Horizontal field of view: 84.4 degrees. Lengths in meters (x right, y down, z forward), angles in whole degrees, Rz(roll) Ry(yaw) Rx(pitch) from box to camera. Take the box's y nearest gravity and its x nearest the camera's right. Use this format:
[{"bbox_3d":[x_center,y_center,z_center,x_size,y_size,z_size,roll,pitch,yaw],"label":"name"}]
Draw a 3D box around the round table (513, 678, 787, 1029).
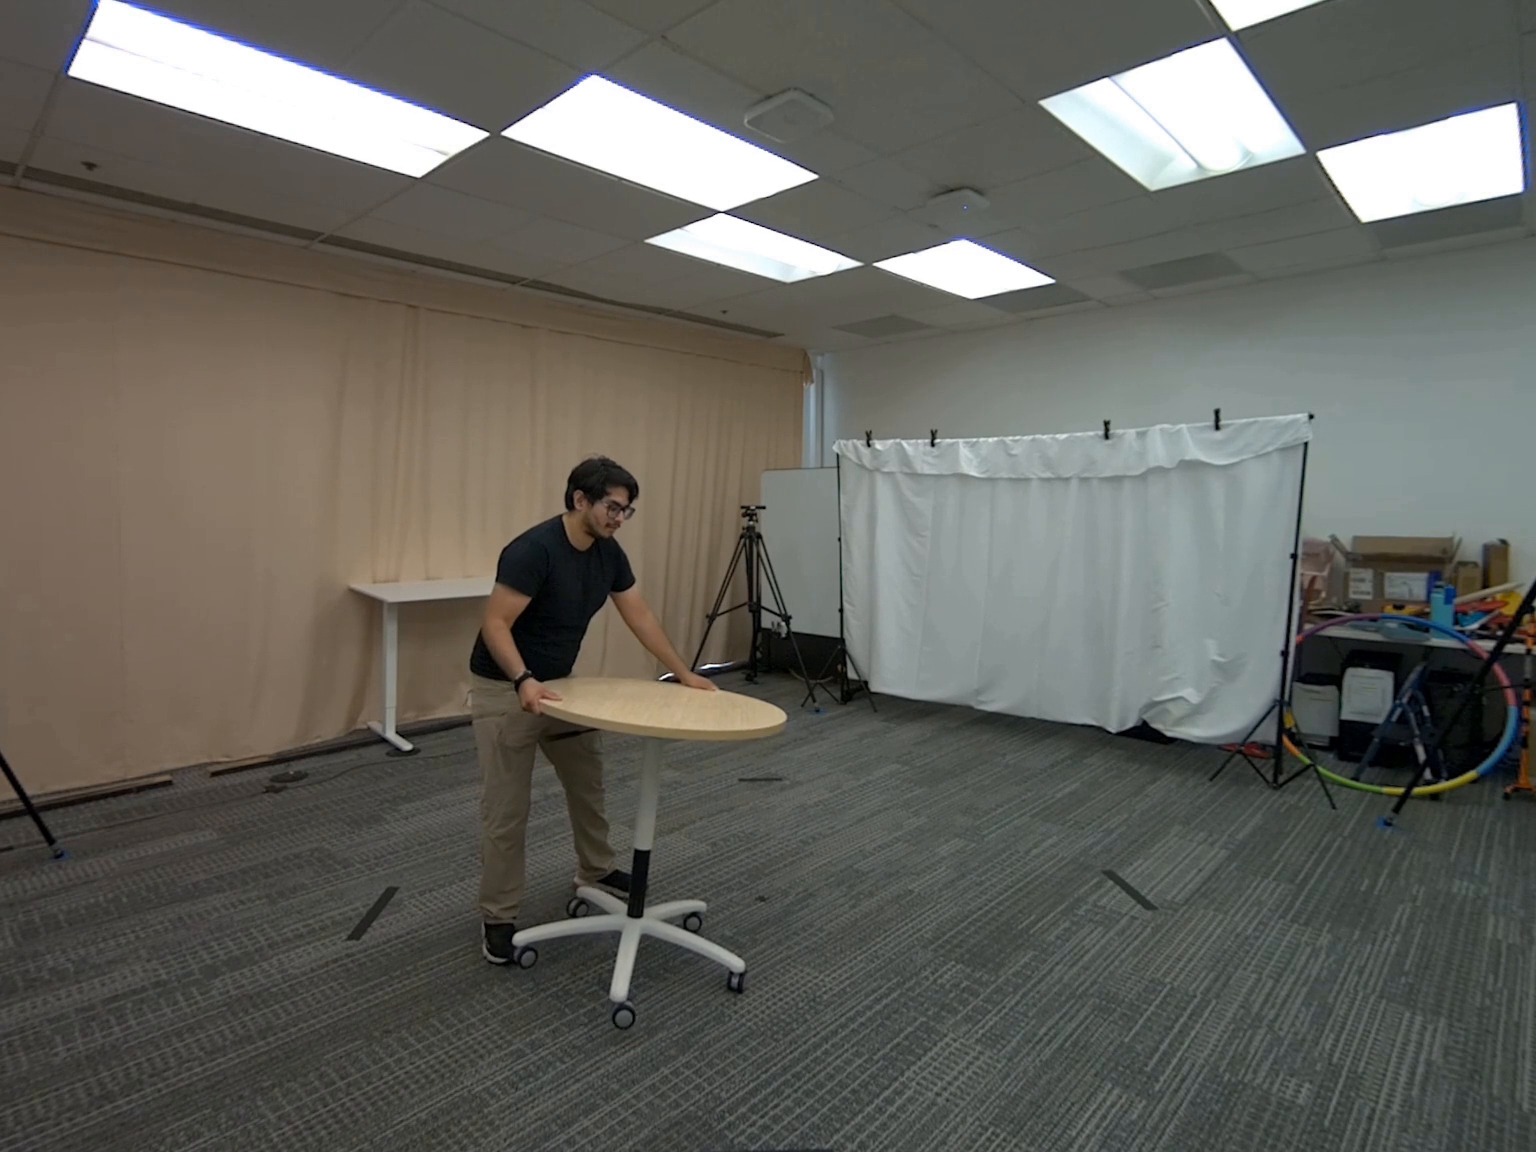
[{"bbox_3d":[-0.354,0.762,2.497,0.784,0.786,0.786,6,1,-2],"label":"round table"}]
